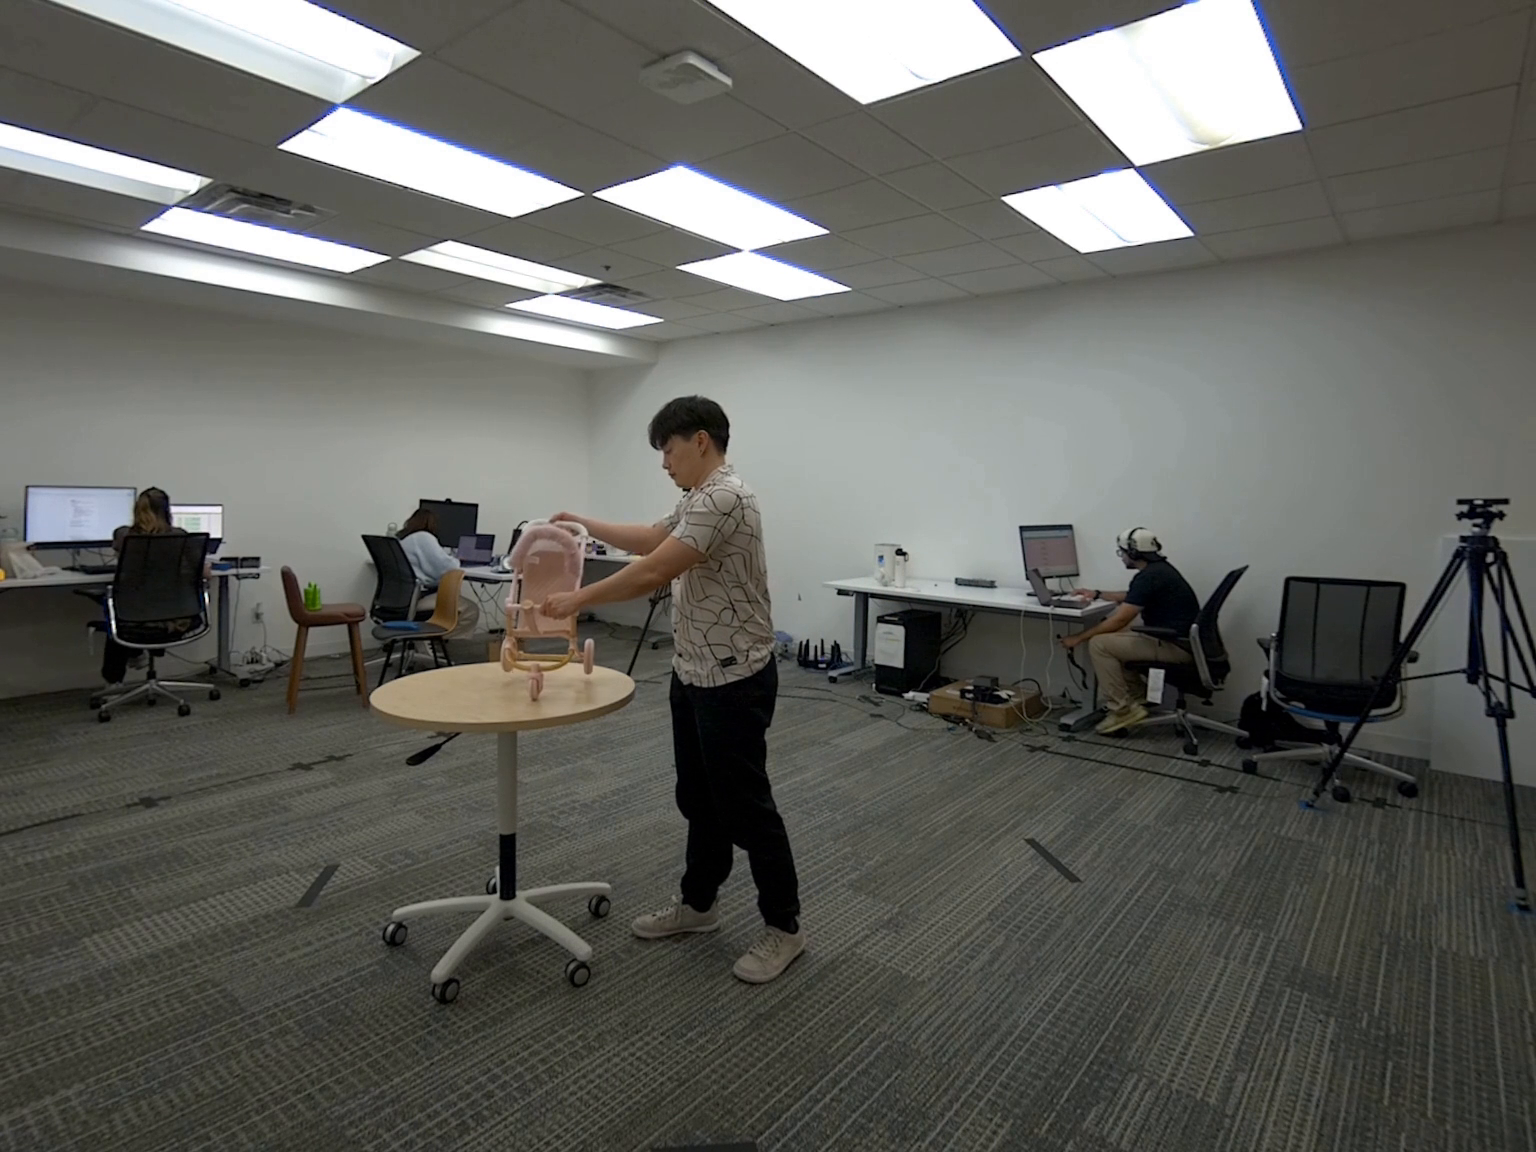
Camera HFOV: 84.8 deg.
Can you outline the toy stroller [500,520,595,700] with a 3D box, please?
[{"bbox_3d":[-0.674,0.087,2.553,0.281,0.538,0.340,2,-5,-1],"label":"toy stroller"}]
